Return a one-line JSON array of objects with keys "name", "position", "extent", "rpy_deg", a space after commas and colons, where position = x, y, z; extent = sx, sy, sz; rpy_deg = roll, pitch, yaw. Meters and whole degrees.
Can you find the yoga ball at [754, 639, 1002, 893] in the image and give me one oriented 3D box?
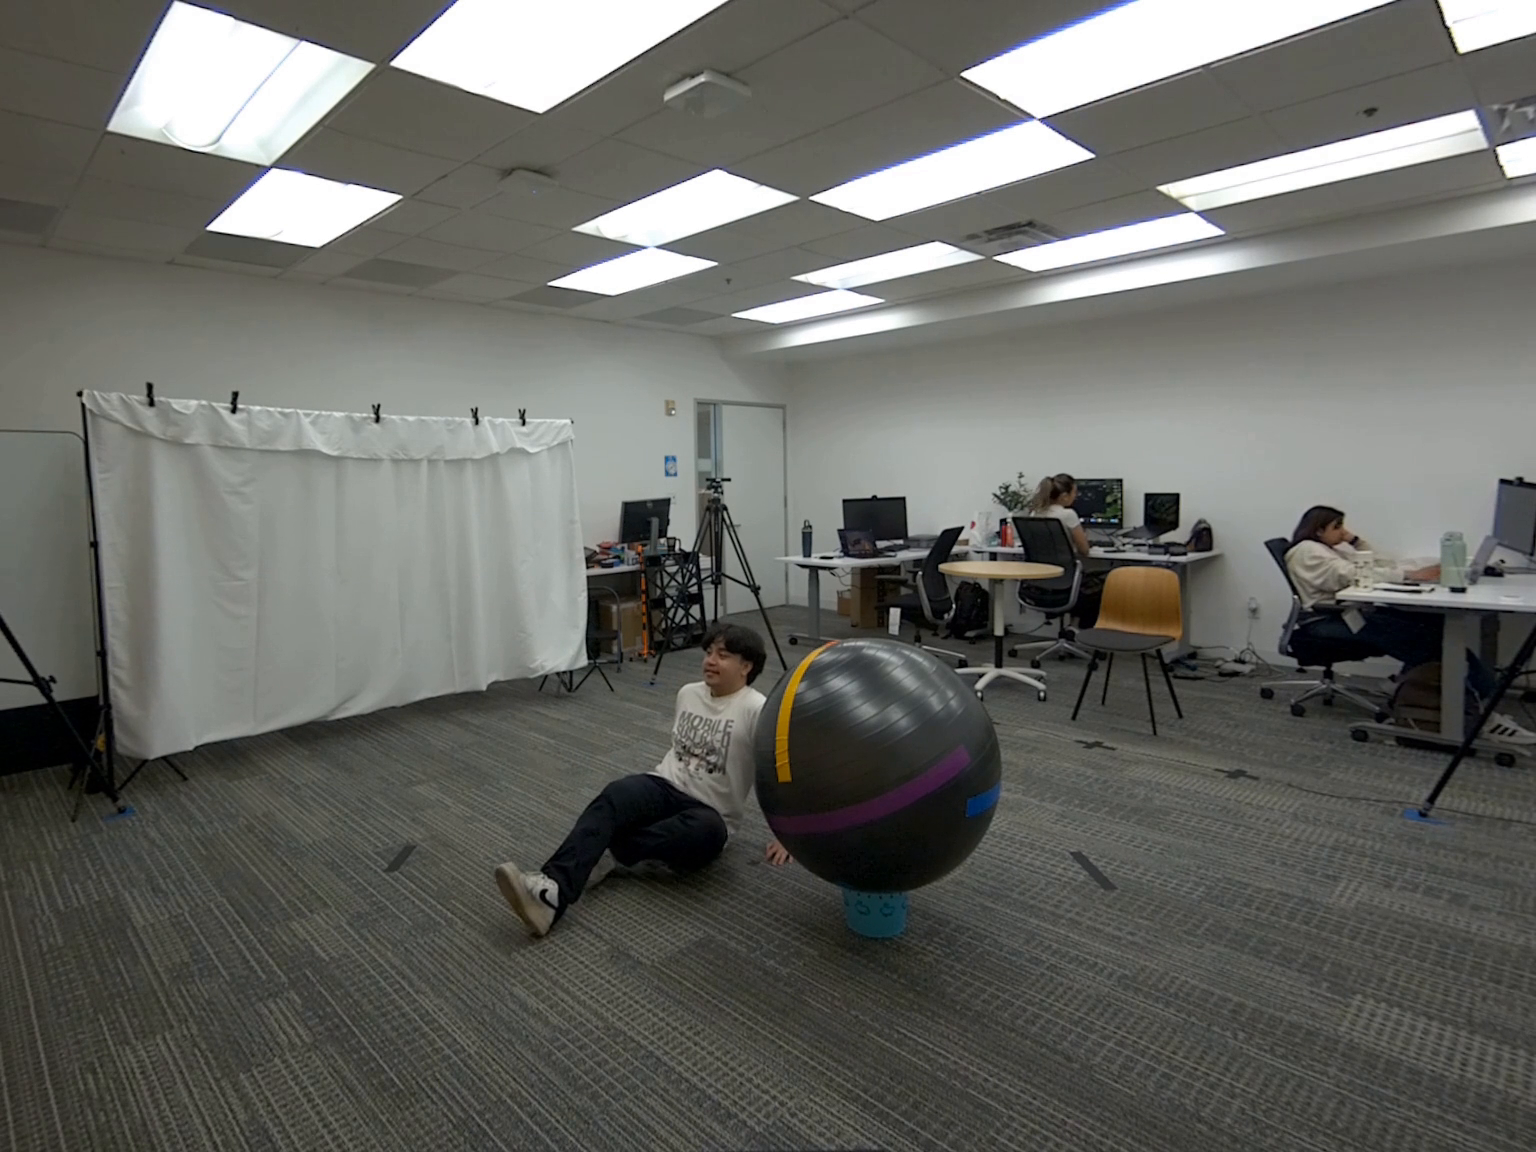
[{"name": "yoga ball", "position": [0.330, 0.578, 2.636], "extent": [0.757, 0.755, 0.762], "rpy_deg": [-1, 5, -2]}]
